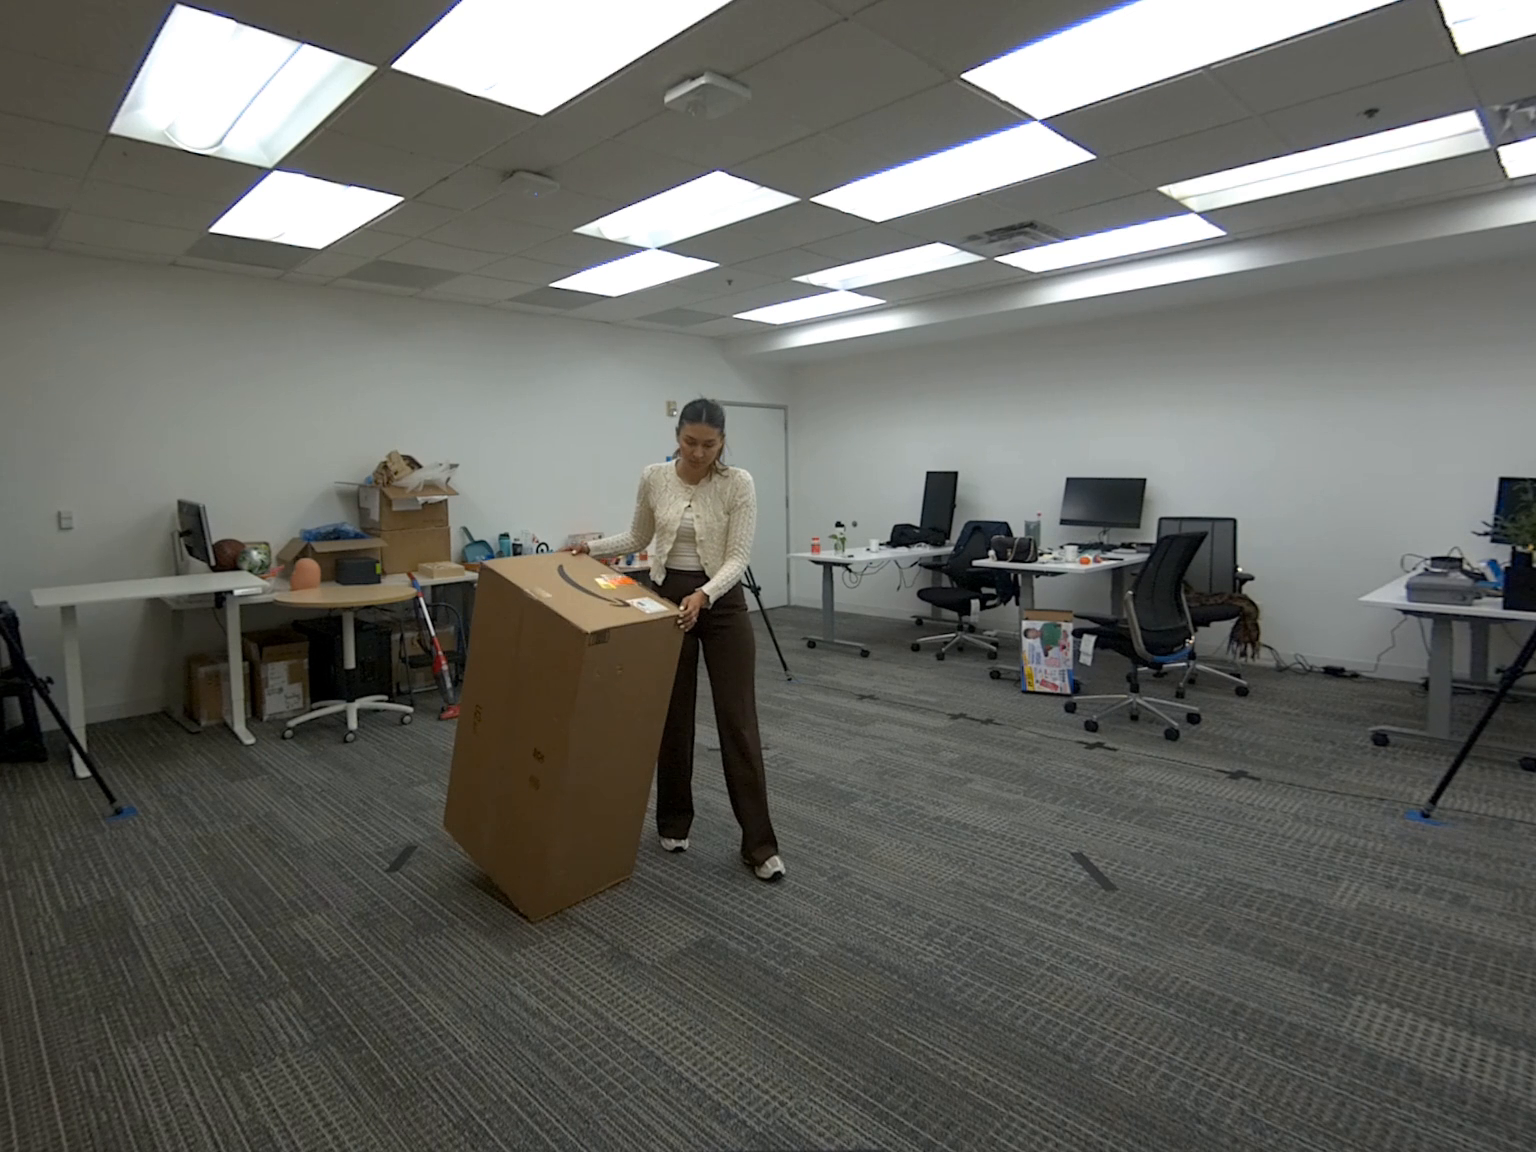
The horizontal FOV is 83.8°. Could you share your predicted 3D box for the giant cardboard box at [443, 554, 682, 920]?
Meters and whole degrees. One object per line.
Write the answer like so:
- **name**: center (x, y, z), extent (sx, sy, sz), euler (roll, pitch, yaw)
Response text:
- **giant cardboard box**: center (-0.706, 0.509, 2.903), extent (0.599, 1.015, 0.415), euler (25, 19, 36)
